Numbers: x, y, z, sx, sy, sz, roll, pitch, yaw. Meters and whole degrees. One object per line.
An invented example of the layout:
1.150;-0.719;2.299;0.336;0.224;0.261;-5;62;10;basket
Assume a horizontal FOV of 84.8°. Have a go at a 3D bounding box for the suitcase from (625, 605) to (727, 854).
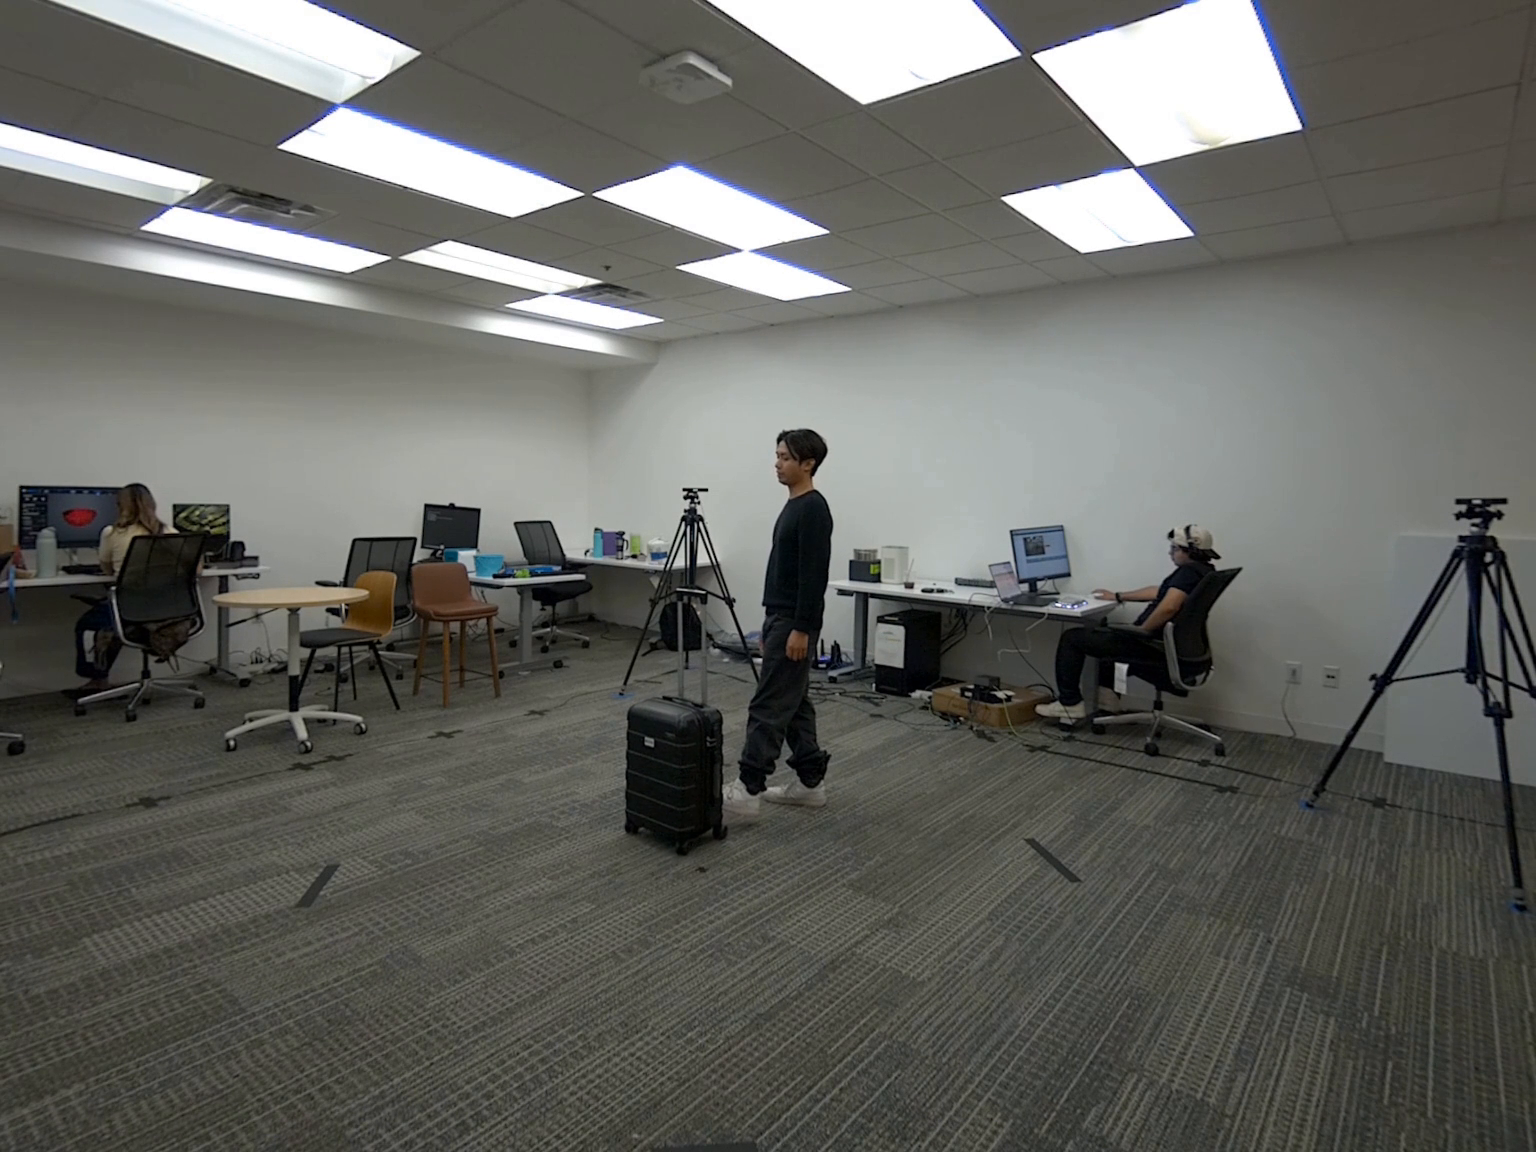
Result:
-0.383;0.564;3.368;0.397;0.974;0.250;4;6;41;suitcase
